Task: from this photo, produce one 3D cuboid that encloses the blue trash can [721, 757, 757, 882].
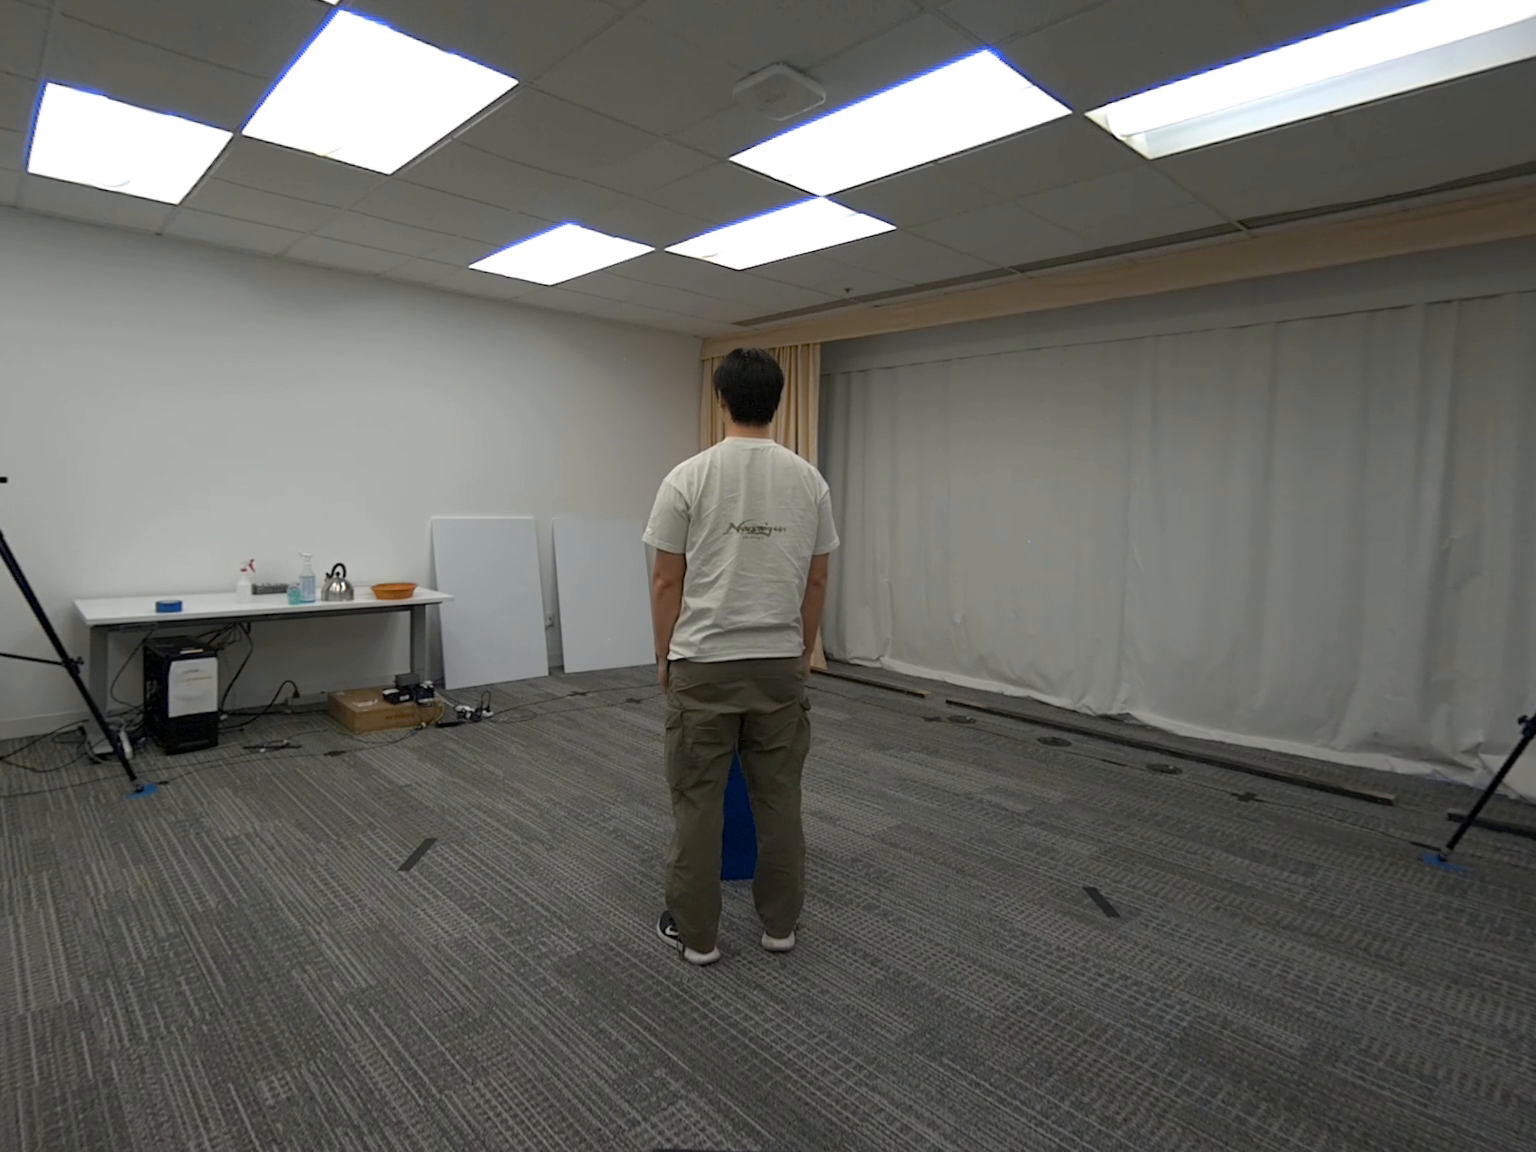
[{"bbox_3d":[-0.165,0.737,3.190,0.375,0.712,0.378,1,3,-10],"label":"blue trash can"}]
